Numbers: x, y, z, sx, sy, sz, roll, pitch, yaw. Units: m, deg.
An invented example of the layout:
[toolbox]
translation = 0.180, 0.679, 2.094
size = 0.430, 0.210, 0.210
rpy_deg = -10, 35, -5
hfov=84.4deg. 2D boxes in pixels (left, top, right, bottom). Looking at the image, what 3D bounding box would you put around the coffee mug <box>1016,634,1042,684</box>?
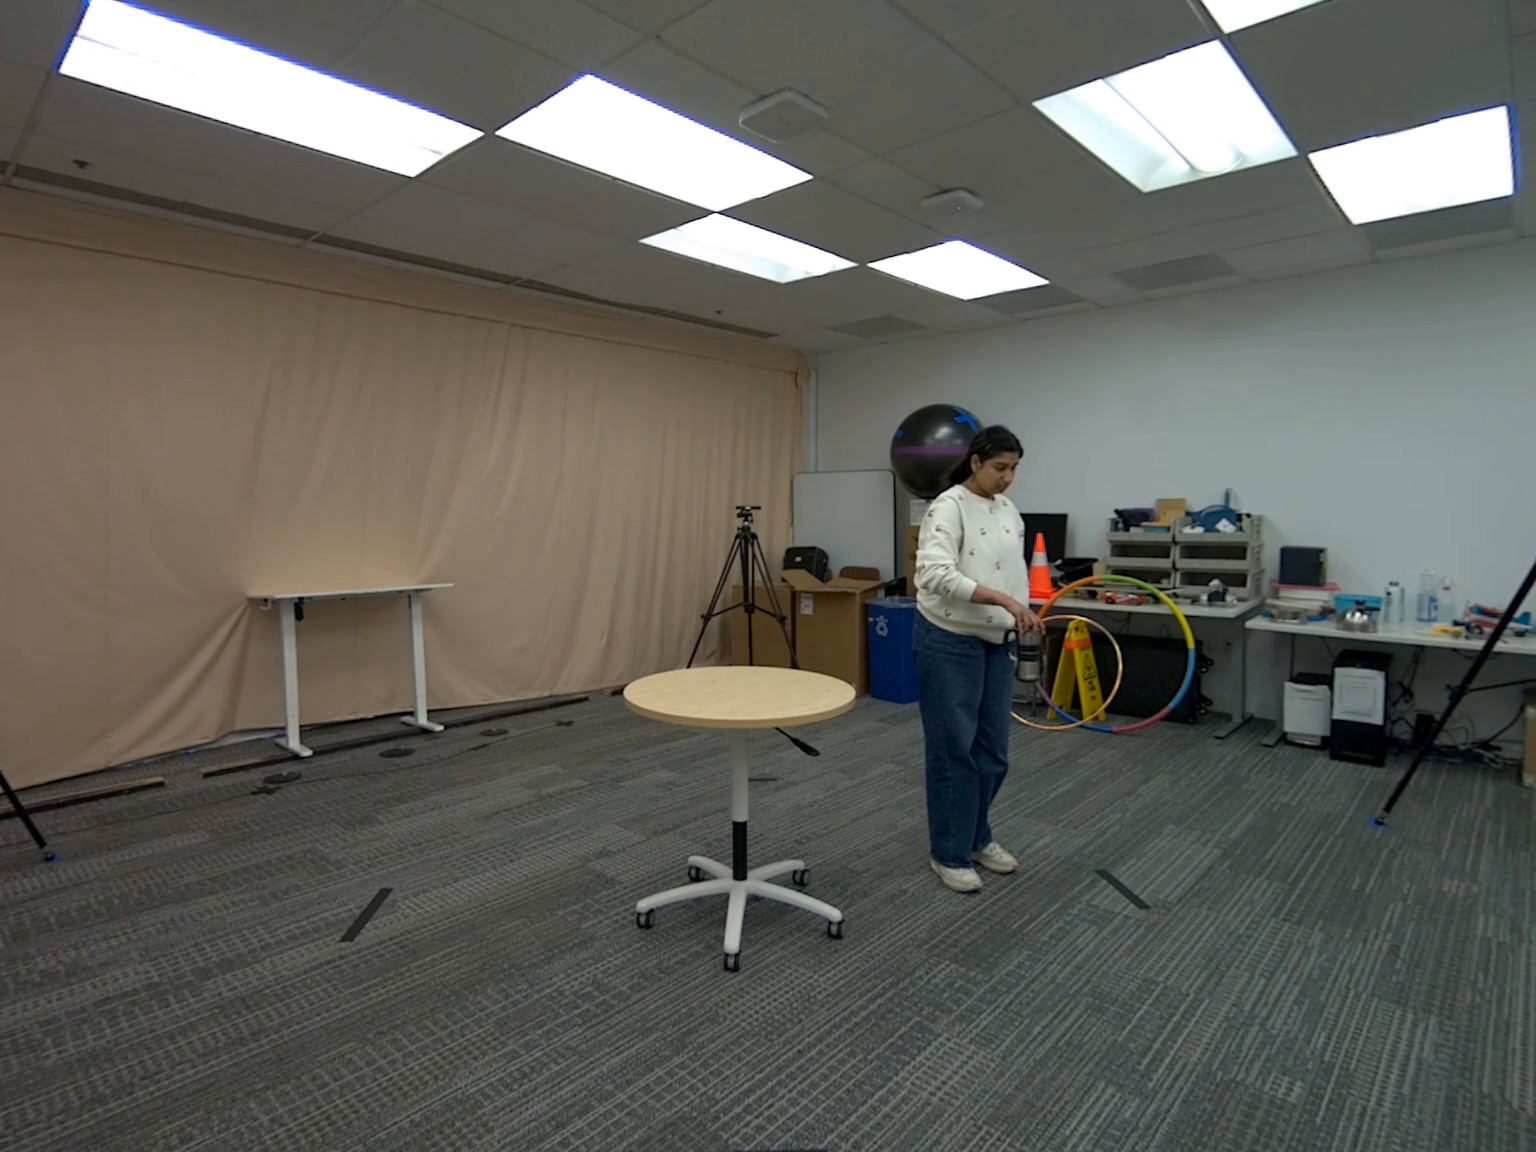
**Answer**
[coffee mug]
translation = 0.895, 0.258, 2.914
size = 0.085, 0.201, 0.126
rpy_deg = -13, 16, -42
